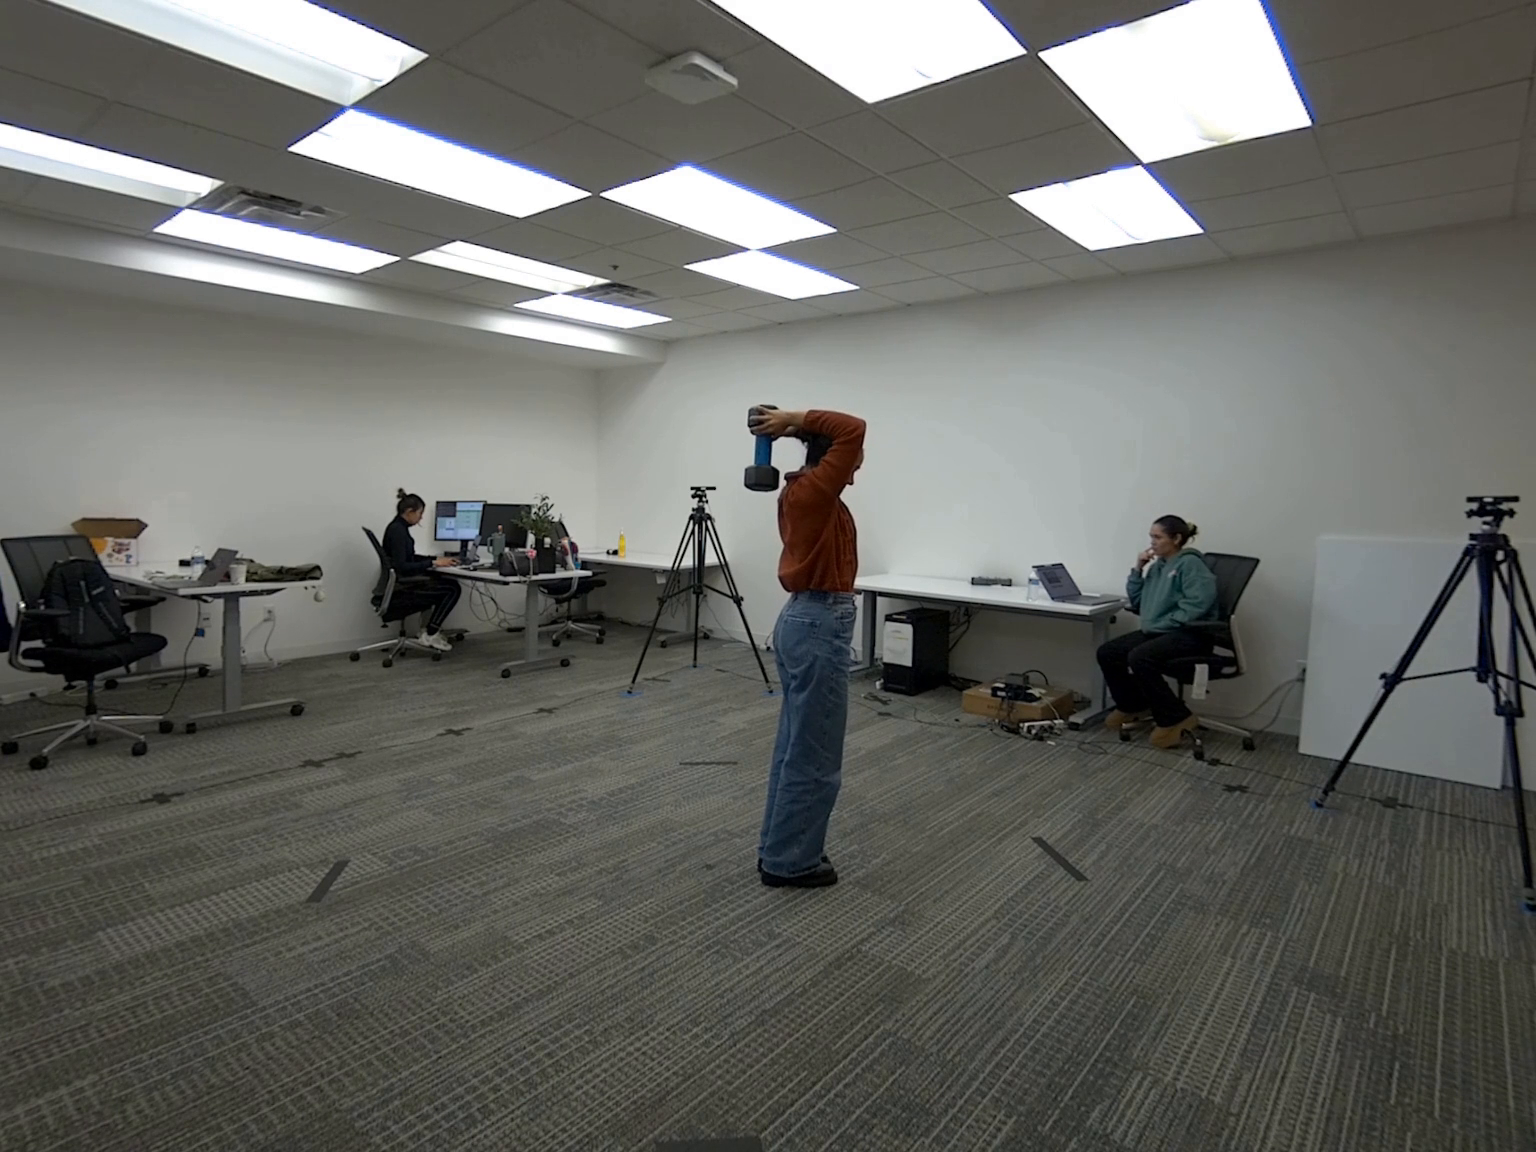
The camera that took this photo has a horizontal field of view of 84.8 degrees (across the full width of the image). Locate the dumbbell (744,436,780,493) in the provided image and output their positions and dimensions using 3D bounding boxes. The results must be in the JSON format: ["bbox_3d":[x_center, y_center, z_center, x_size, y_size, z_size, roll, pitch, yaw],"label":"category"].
[{"bbox_3d":[-0.019,-0.451,2.978,0.122,0.295,0.109,6,-7,-9],"label":"dumbbell"}]
